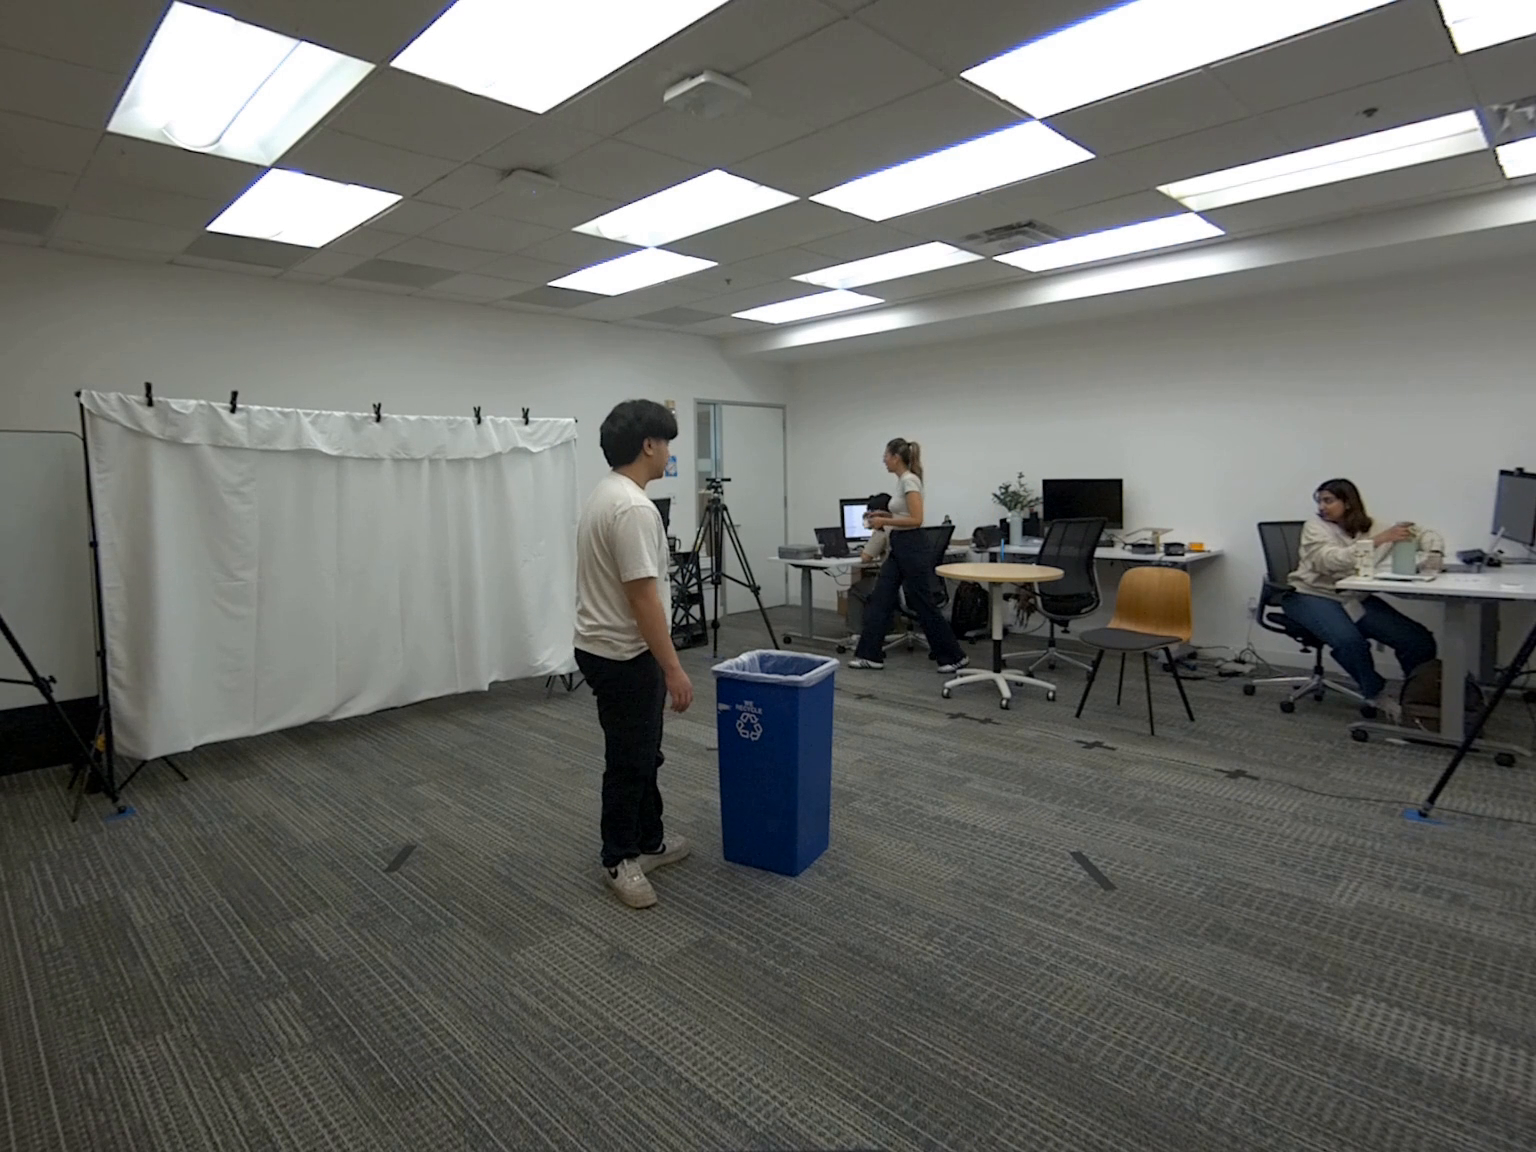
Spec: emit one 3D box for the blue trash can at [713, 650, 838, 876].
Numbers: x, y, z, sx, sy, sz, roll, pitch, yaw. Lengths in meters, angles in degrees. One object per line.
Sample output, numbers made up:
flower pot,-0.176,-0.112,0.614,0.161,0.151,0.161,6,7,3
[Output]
blue trash can,0.041,0.676,3.163,0.384,0.711,0.370,2,5,29
